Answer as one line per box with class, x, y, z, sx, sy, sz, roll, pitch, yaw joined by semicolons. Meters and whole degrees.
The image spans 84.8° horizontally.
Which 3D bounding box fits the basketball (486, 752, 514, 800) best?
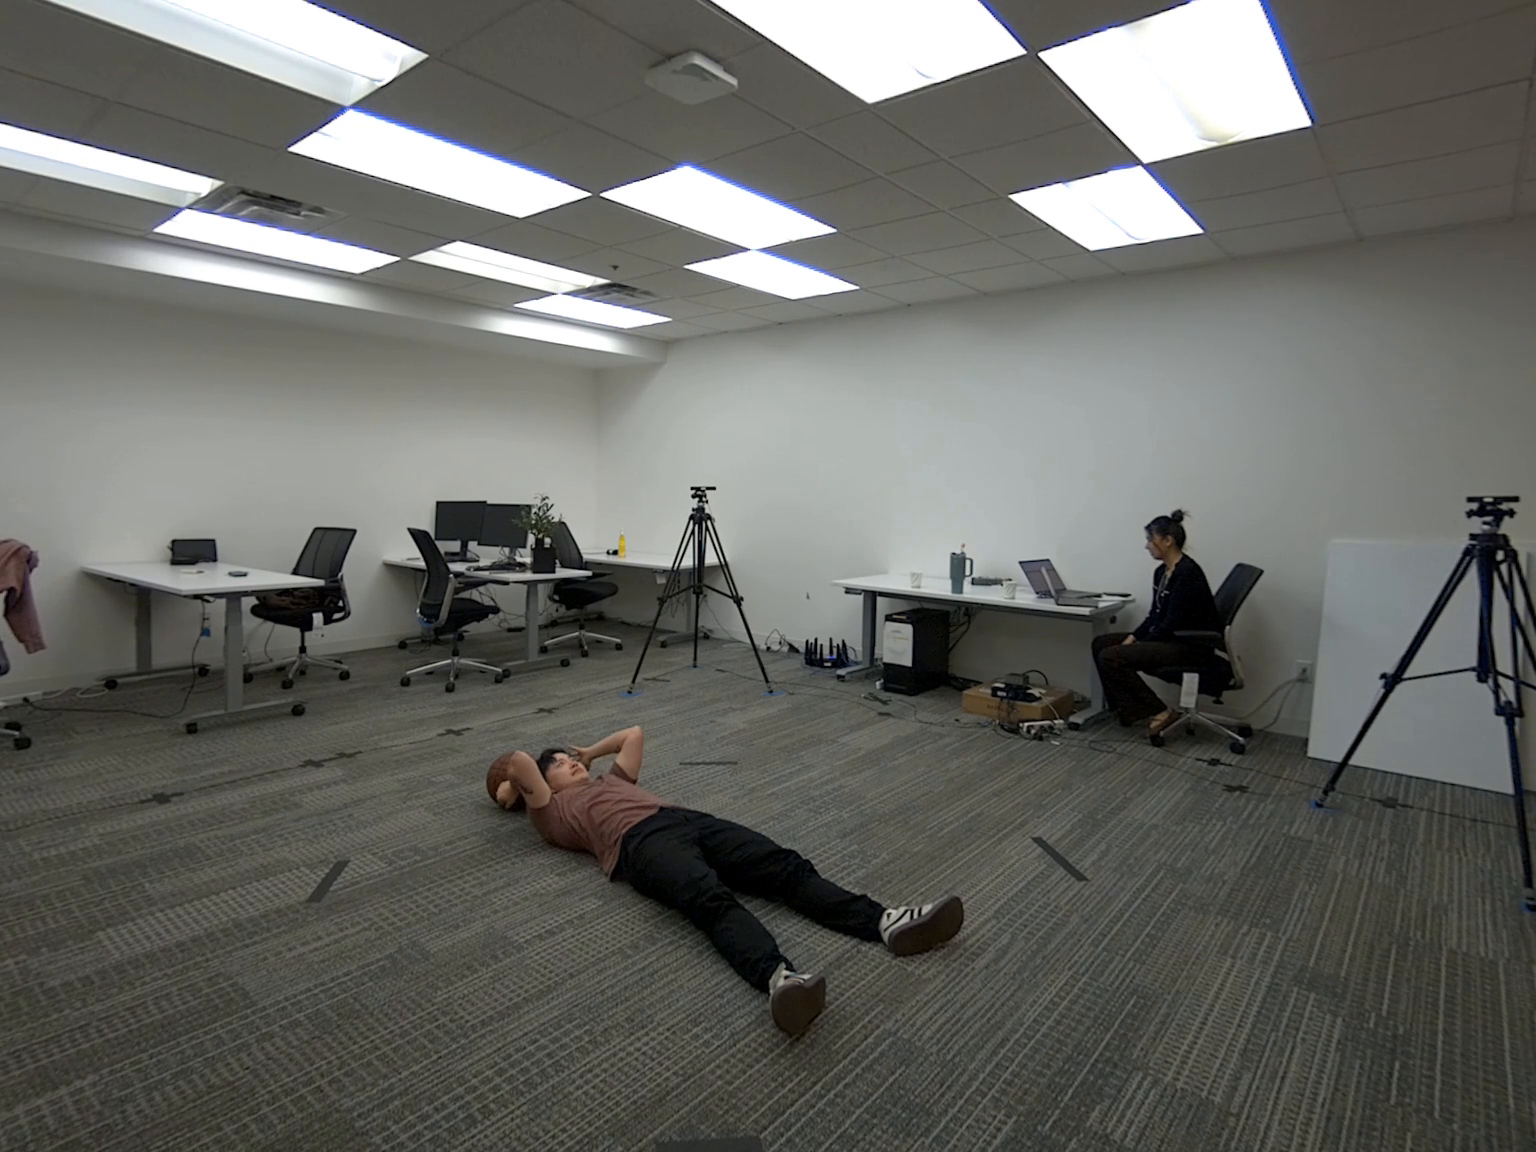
basketball;-1.106;0.867;3.669;0.235;0.235;0.237;1;5;-2
